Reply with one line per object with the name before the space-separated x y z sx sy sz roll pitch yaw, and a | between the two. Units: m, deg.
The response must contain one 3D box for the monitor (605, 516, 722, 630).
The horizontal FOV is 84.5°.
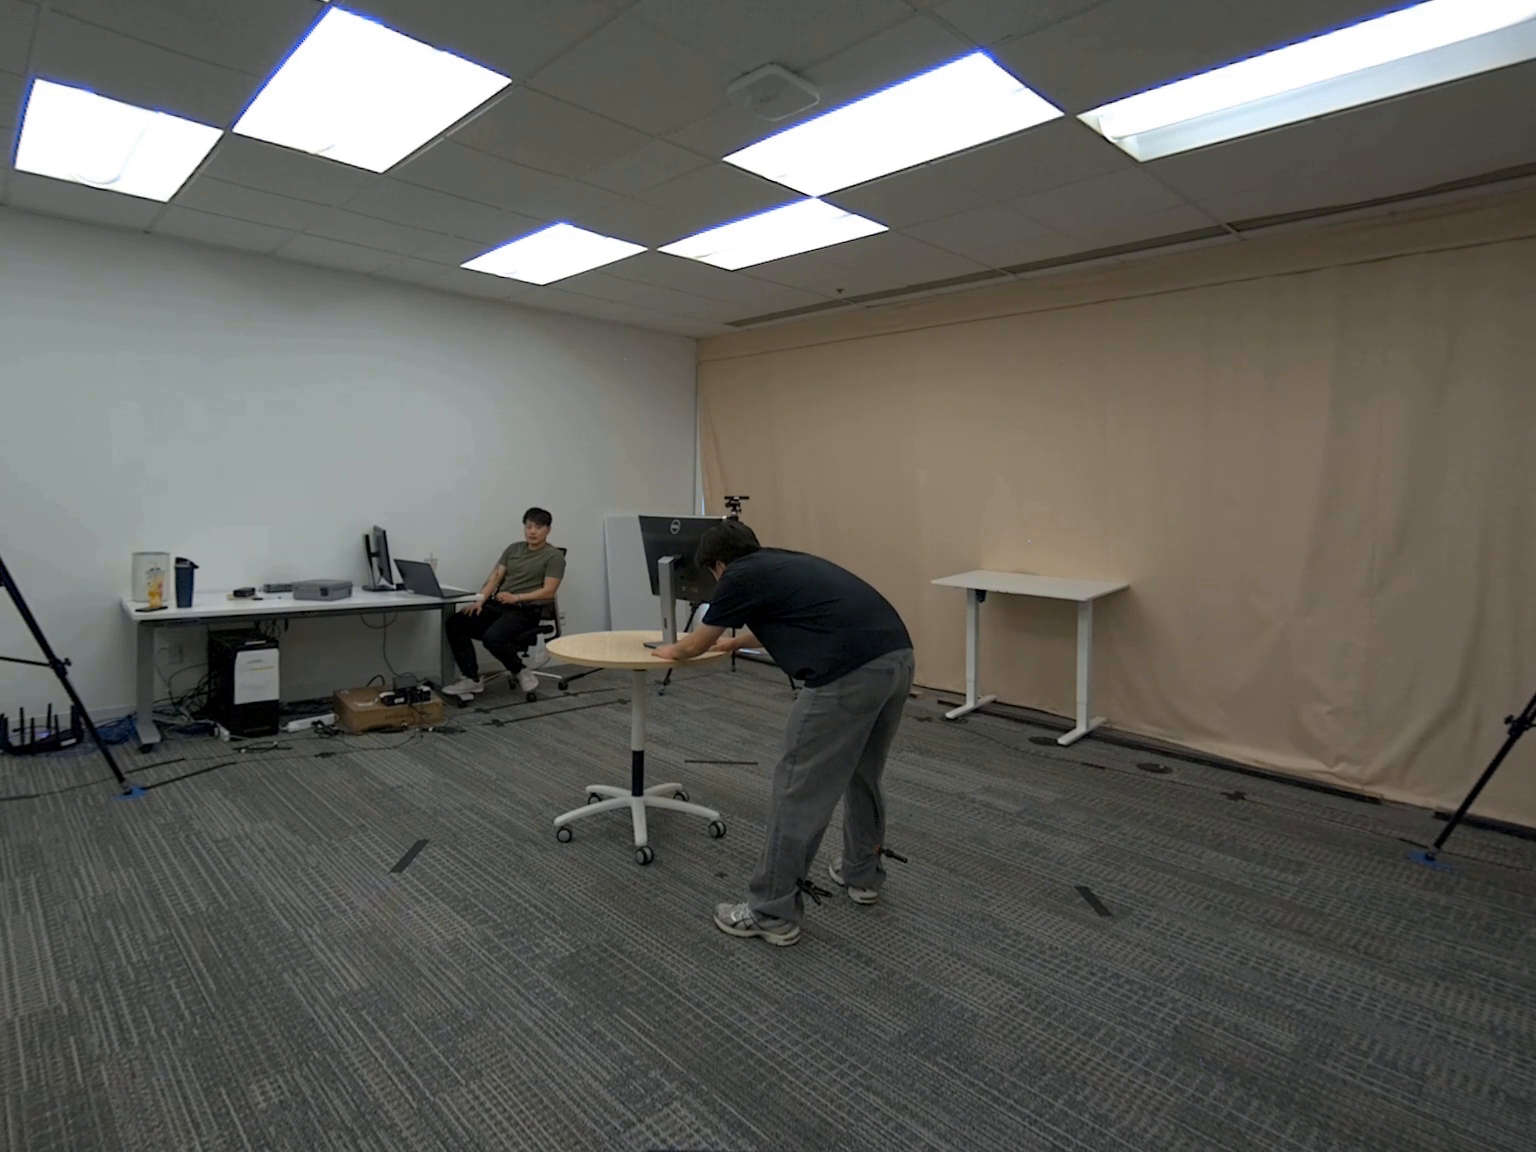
monitor | -0.381 0.028 3.401 0.206 0.550 0.580 -10 11 -43
